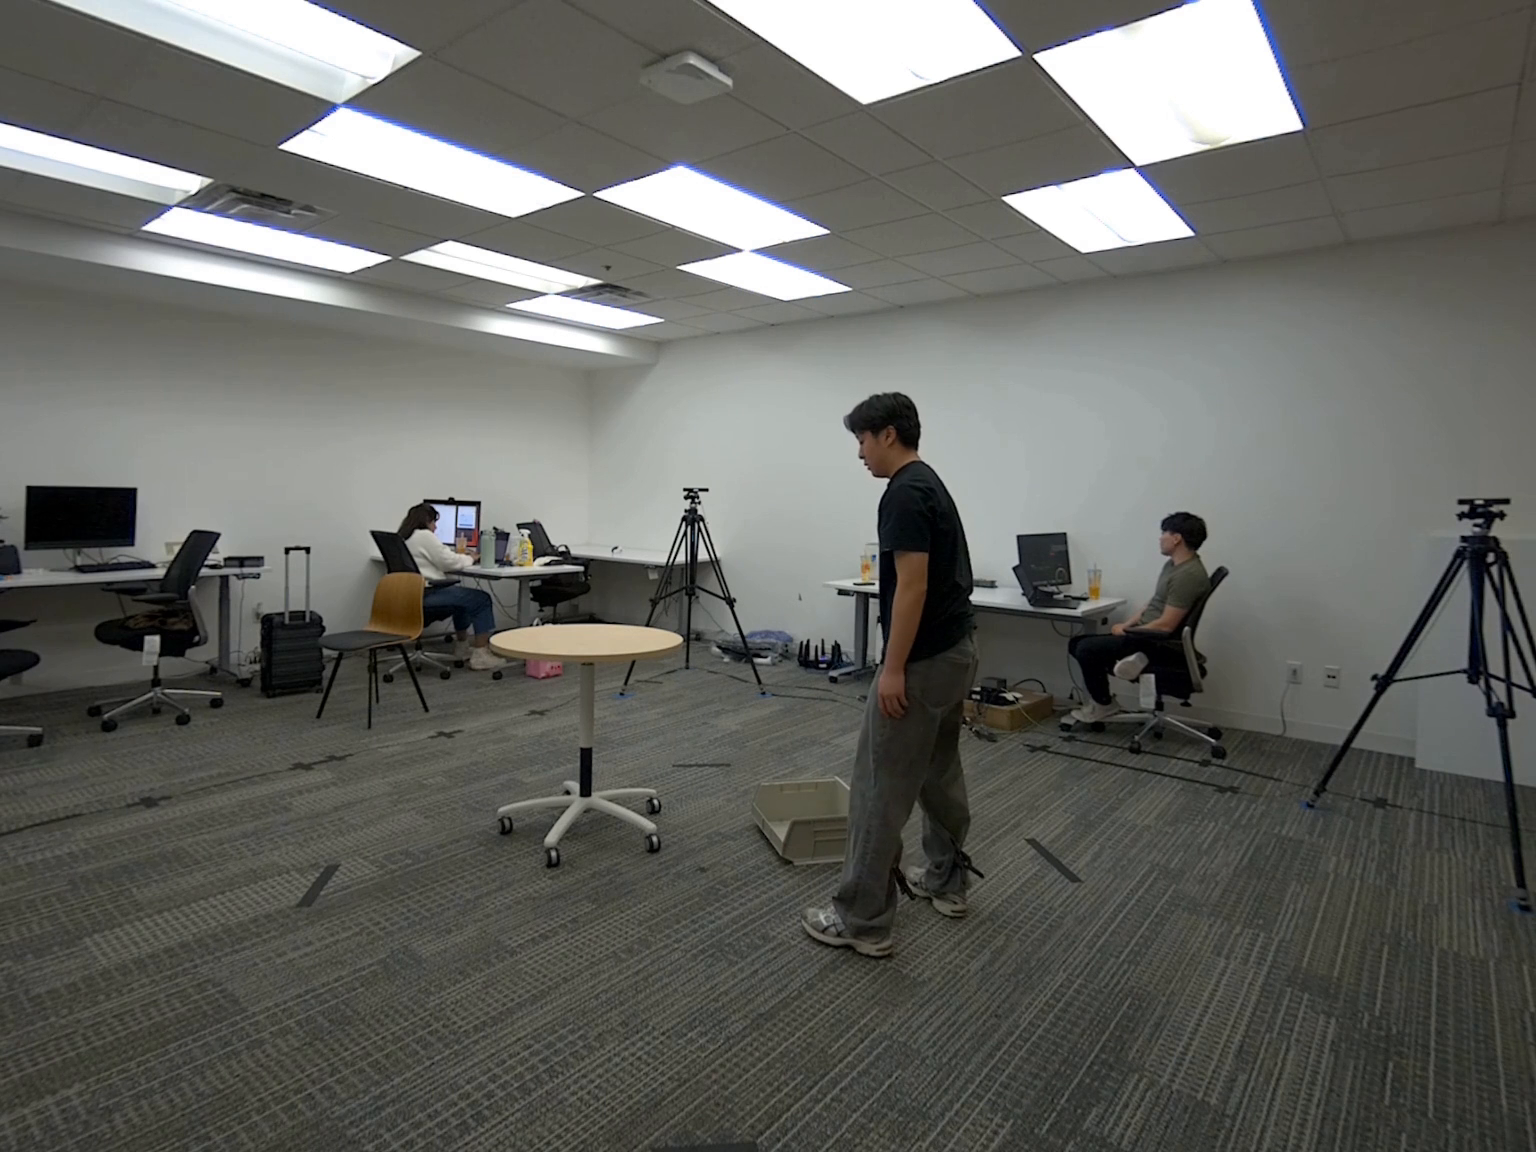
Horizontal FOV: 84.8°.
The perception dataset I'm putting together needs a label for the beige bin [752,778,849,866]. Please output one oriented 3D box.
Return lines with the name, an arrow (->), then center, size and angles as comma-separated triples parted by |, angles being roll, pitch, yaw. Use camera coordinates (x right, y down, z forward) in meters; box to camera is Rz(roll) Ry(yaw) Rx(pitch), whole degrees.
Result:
beige bin -> 0.164, 0.963, 3.382 | 0.371, 0.188, 0.430 | 0, 4, -16
